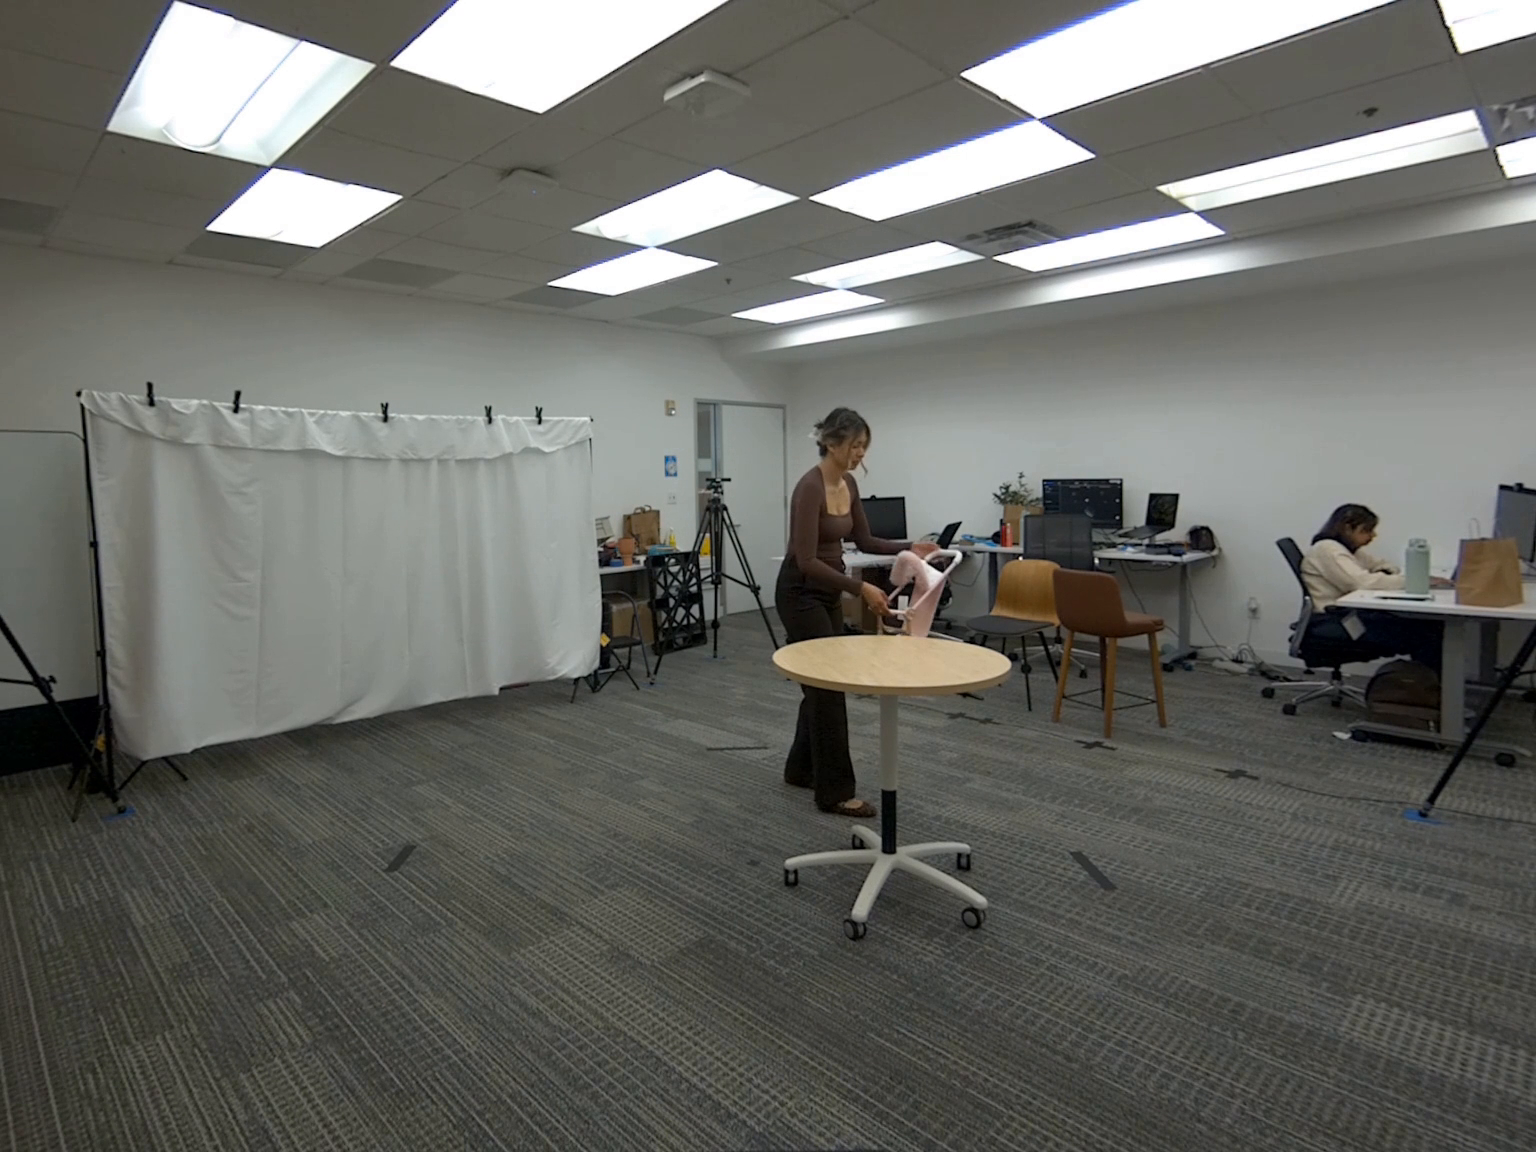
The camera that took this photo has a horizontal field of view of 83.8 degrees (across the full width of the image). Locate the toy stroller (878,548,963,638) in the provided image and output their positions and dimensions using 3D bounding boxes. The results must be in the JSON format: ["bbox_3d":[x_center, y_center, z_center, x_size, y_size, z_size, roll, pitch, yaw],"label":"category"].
[{"bbox_3d":[0.561,0.142,3.438,0.334,0.535,0.287,8,-1,-21],"label":"toy stroller"}]
